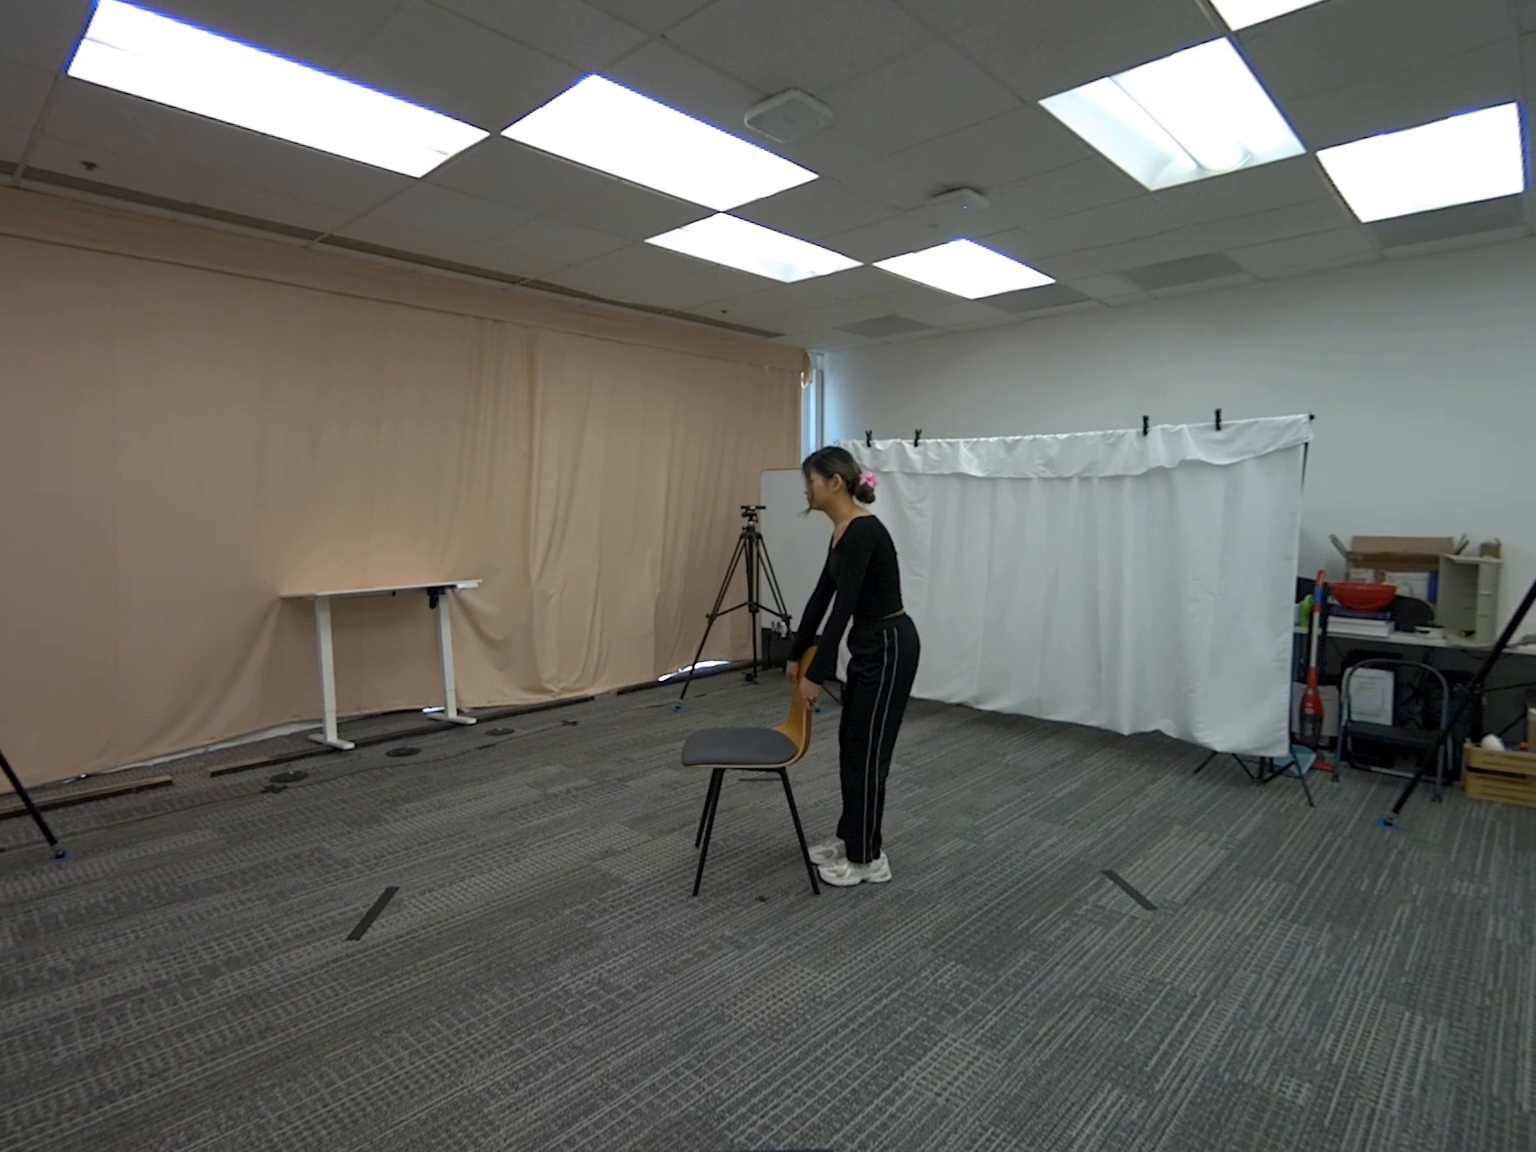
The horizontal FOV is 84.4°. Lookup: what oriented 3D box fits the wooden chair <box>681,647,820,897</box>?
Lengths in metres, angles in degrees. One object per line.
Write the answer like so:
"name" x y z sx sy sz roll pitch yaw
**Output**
"wooden chair" -0.066 0.700 3.197 0.522 0.875 0.480 4 4 -3
